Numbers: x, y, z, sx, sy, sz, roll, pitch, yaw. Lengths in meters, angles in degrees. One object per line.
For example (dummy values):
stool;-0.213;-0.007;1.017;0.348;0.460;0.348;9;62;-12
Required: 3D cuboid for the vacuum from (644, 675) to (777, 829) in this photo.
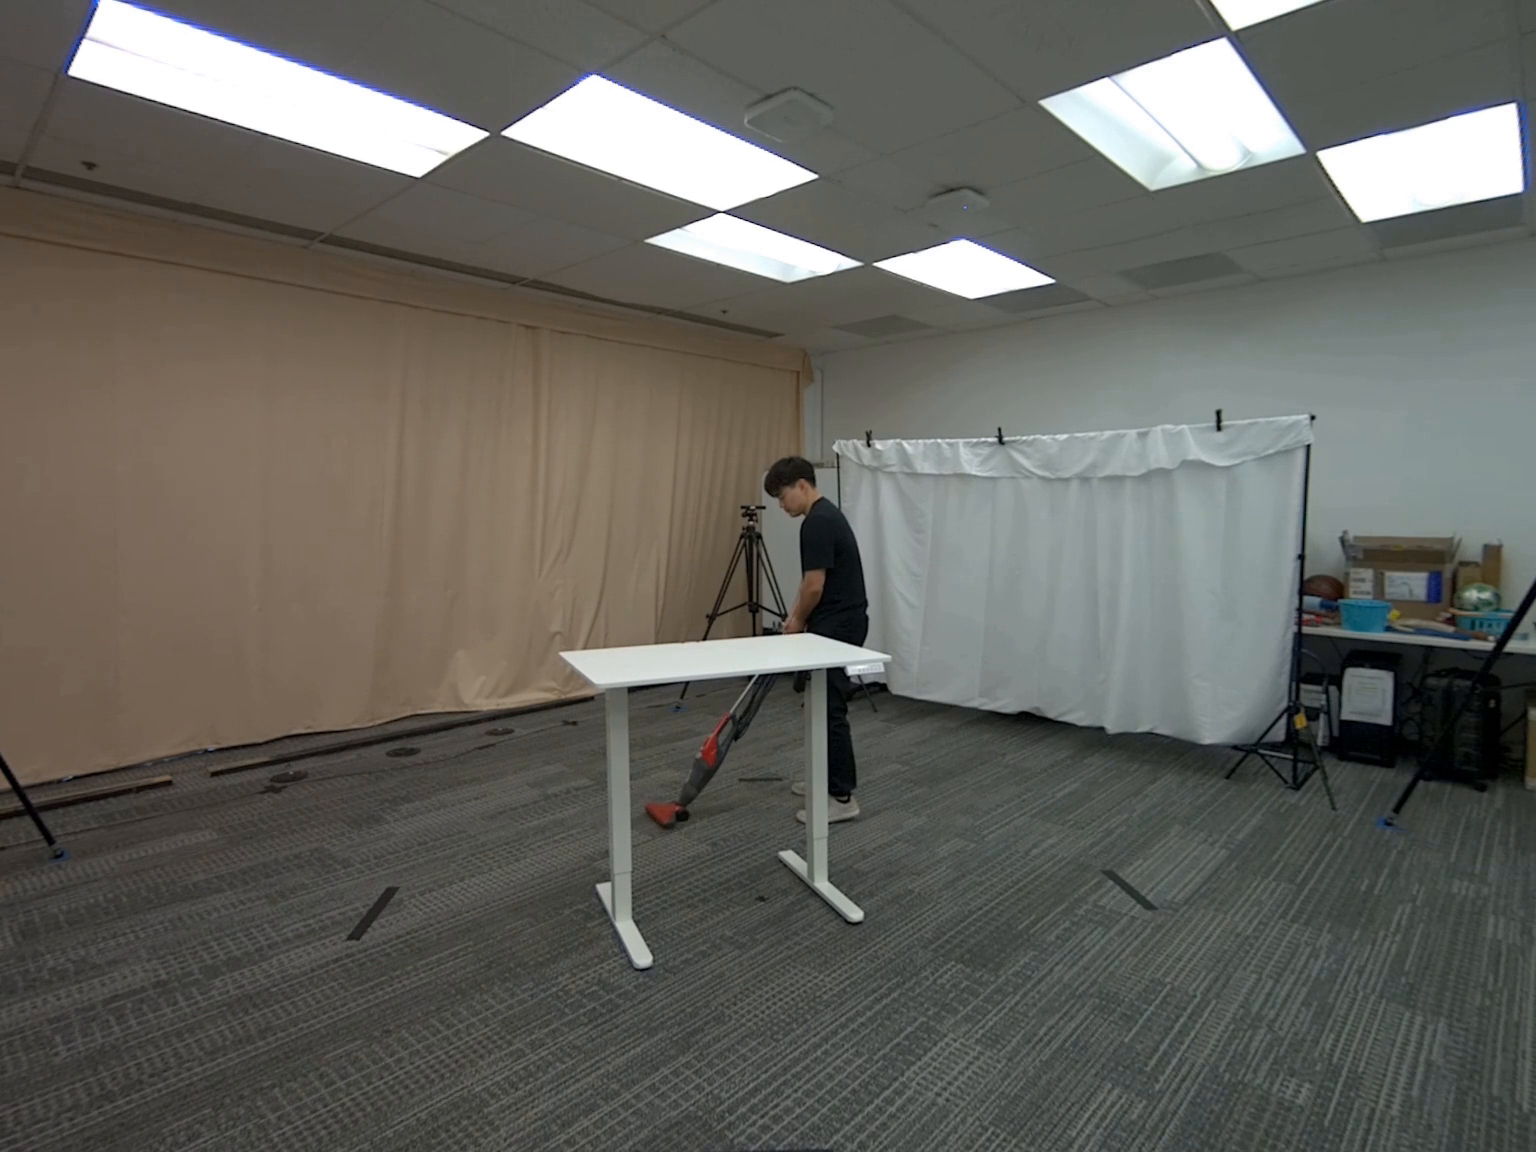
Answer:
vacuum;-0.158;0.669;3.896;0.141;1.047;0.259;42;-17;-21
